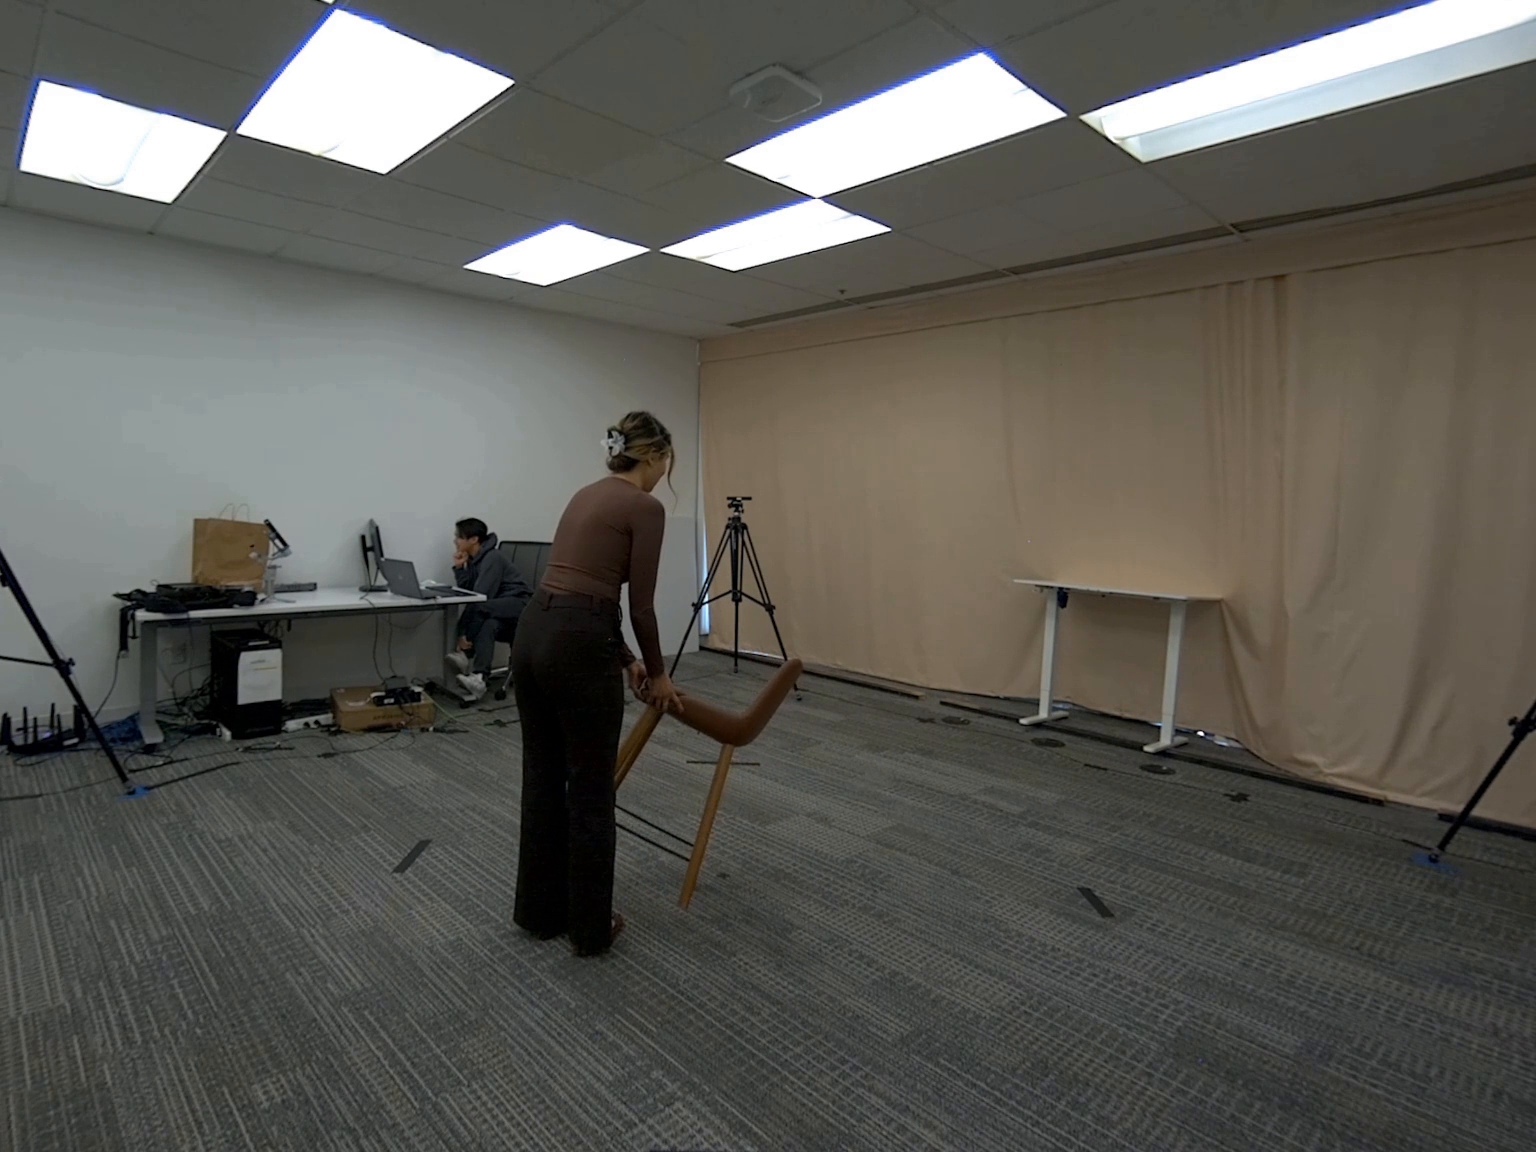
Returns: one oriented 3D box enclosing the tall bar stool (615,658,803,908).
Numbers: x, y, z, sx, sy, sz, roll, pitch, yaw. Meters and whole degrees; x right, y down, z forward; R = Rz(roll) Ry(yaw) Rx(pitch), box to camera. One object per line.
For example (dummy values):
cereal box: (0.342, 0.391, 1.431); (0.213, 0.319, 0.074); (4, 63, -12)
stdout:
tall bar stool: (-0.292, 0.617, 2.927); (0.470, 0.893, 0.453); (25, -11, 3)
